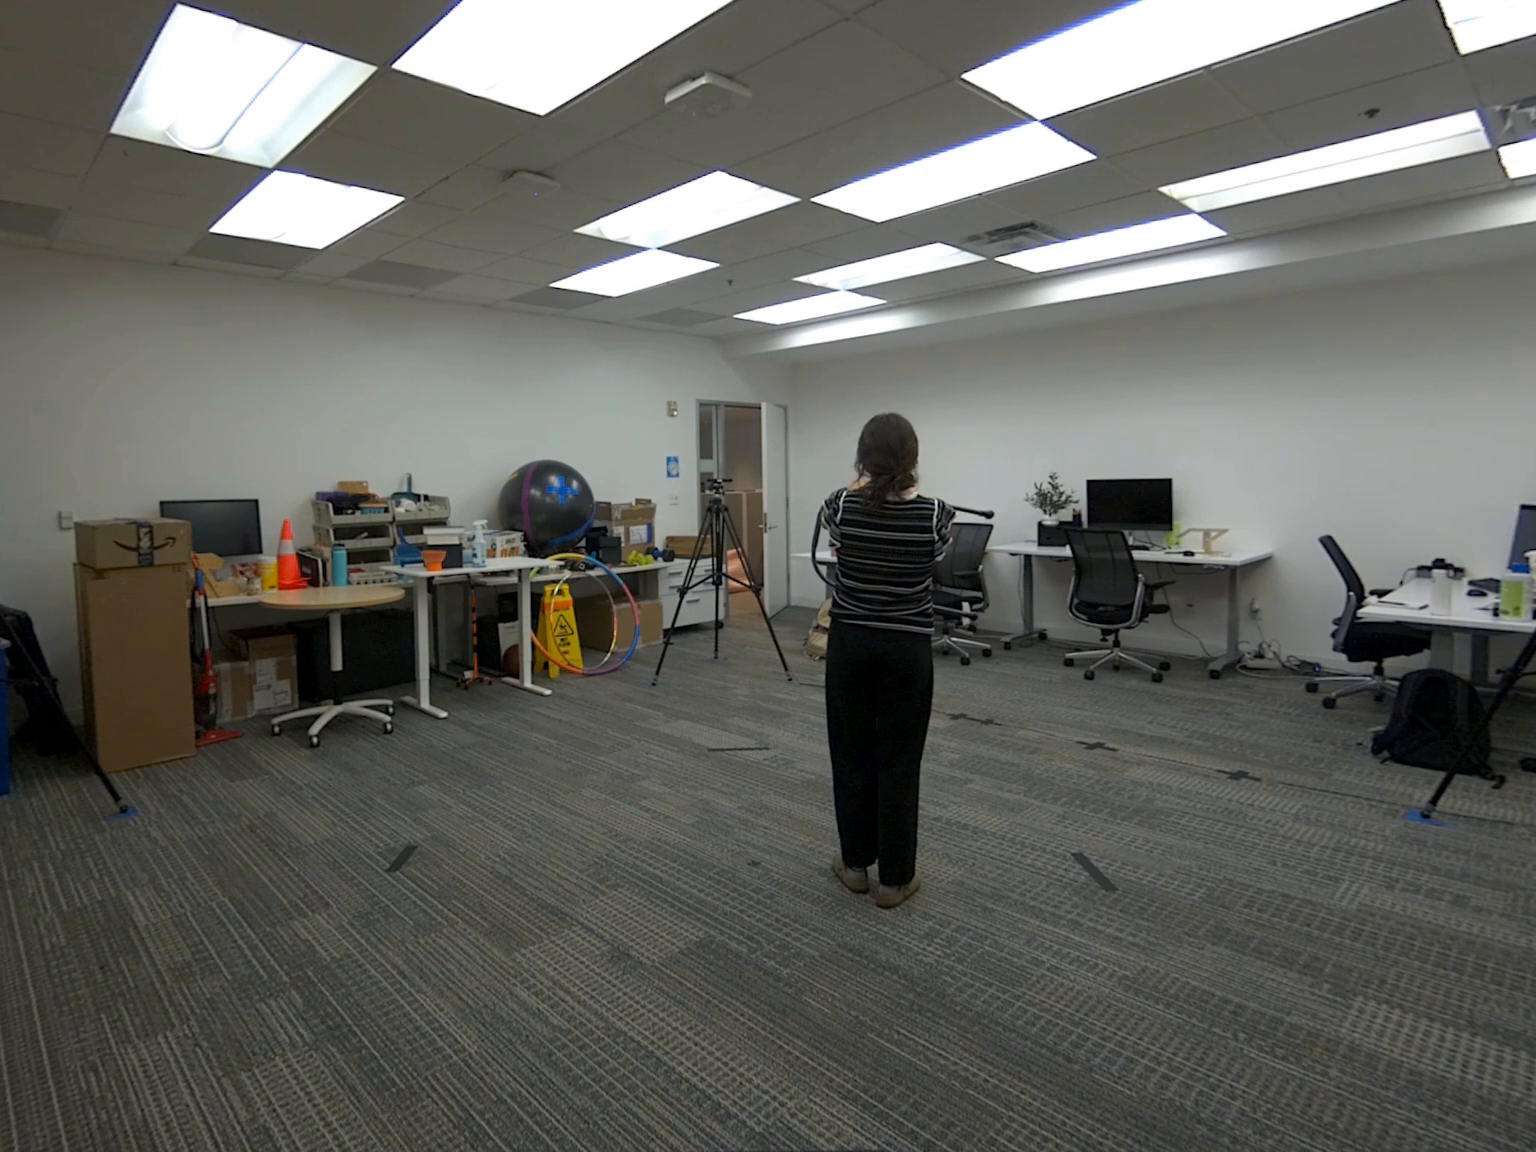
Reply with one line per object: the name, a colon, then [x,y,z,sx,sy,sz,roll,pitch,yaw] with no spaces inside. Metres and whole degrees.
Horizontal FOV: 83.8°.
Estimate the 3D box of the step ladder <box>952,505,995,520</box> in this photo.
step ladder: [0.493,-0.103,3.285,0.592,0.433,0.355,14,-9,-21]
